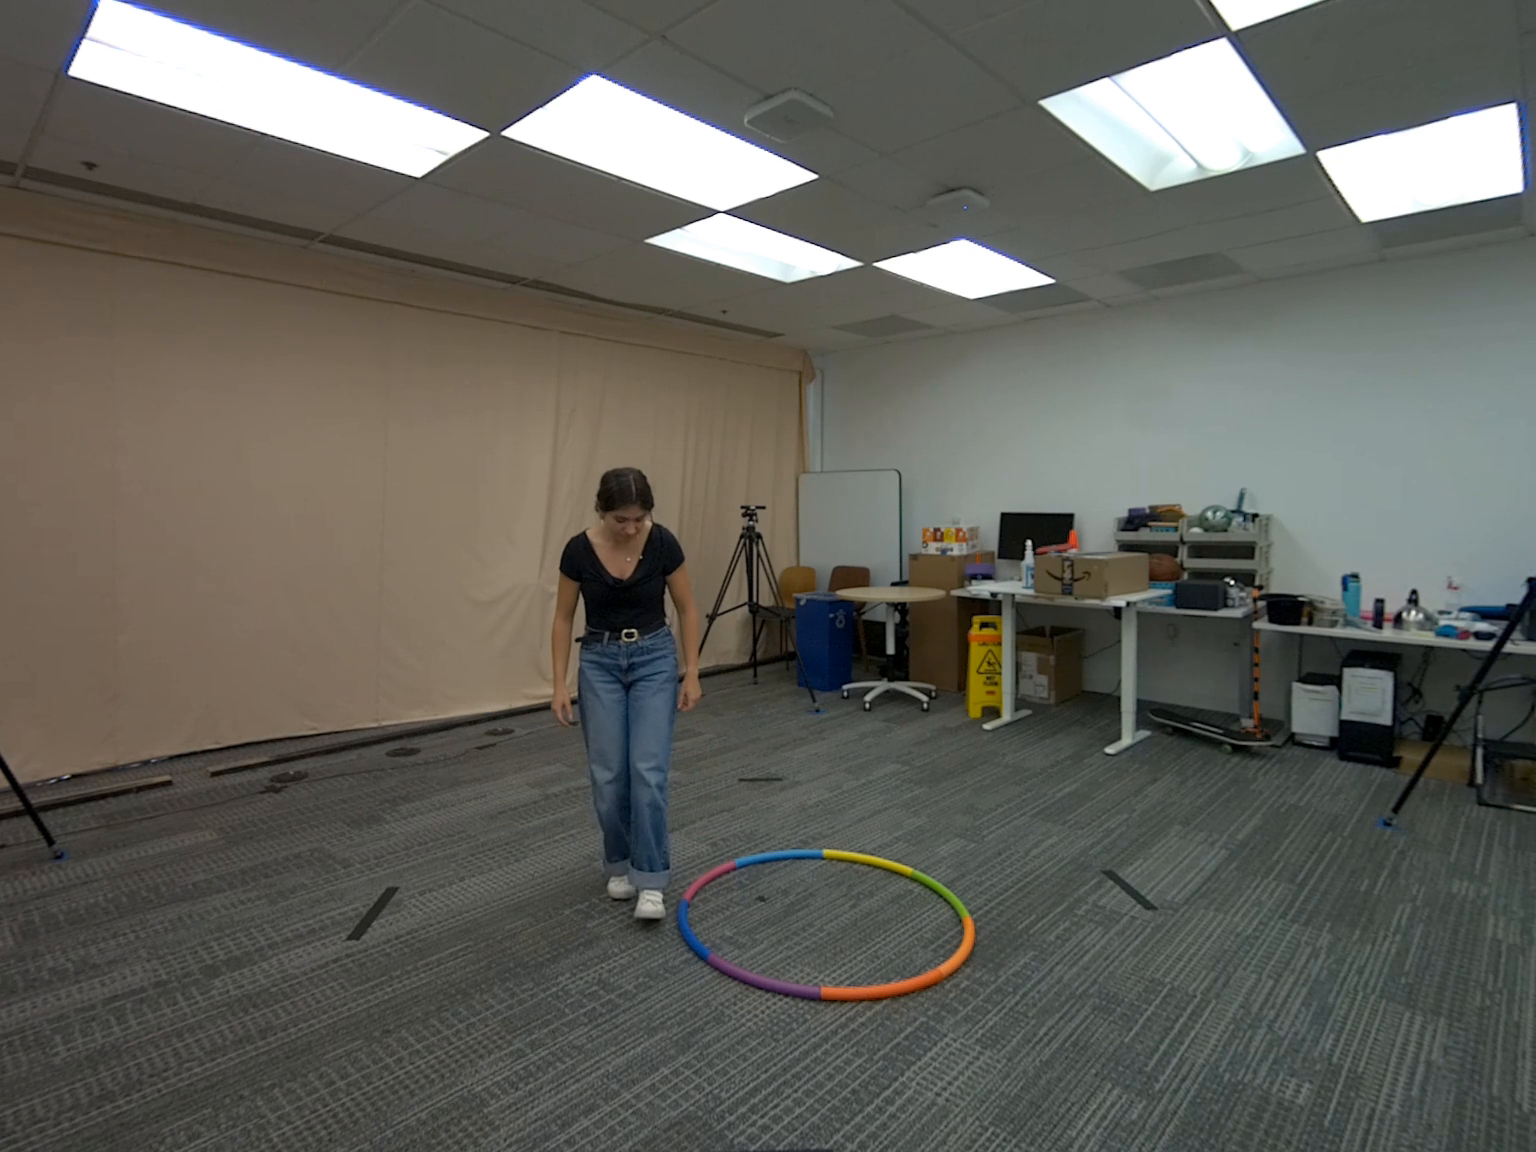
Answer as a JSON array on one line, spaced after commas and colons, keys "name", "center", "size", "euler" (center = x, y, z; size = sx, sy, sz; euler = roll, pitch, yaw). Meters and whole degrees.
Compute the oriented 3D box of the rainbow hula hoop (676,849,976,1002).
[{"name": "rainbow hula hoop", "center": [0.186, 1.123, 2.853], "size": [0.978, 0.035, 0.982], "euler": [0, 5, -2]}]
